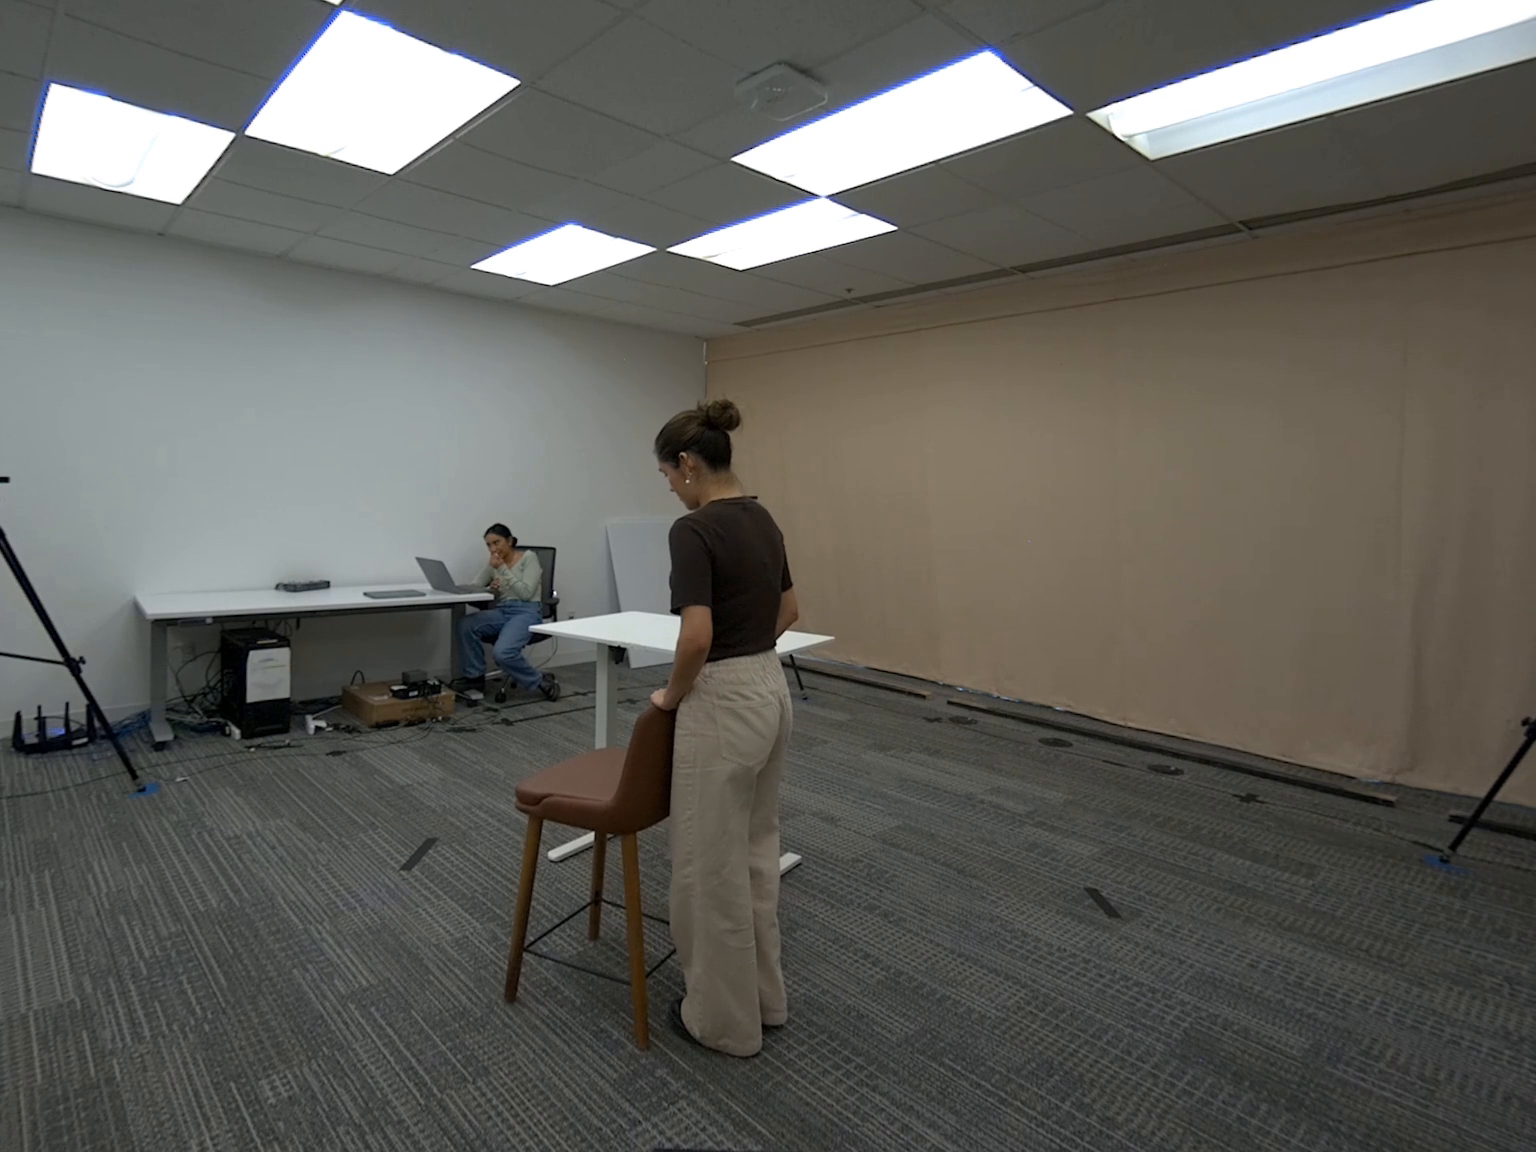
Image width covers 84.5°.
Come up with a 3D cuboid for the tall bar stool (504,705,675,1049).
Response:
[{"bbox_3d":[-0.419,0.729,2.344,0.477,0.887,0.448,6,5,27],"label":"tall bar stool"}]
